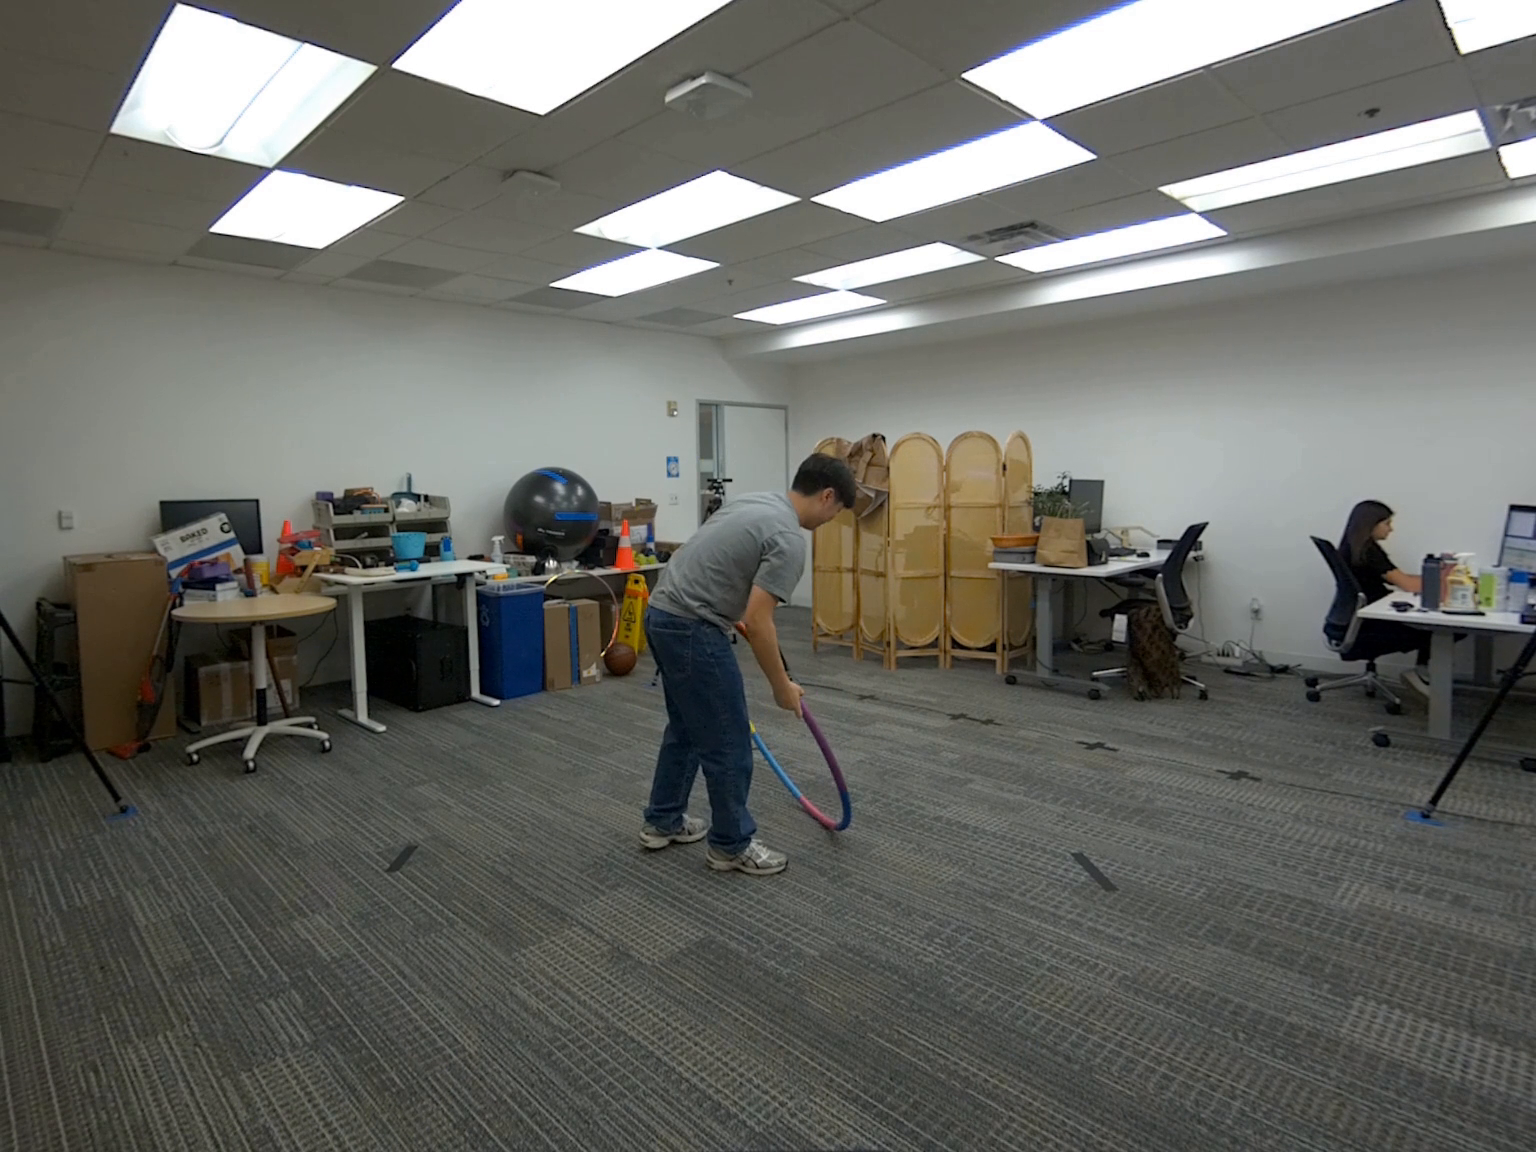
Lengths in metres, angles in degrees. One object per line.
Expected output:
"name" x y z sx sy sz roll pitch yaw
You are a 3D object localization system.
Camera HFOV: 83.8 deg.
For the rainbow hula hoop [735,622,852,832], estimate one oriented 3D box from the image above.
"rainbow hula hoop" 0.028 0.564 3.409 0.035 0.964 1.001 -28 14 -18
